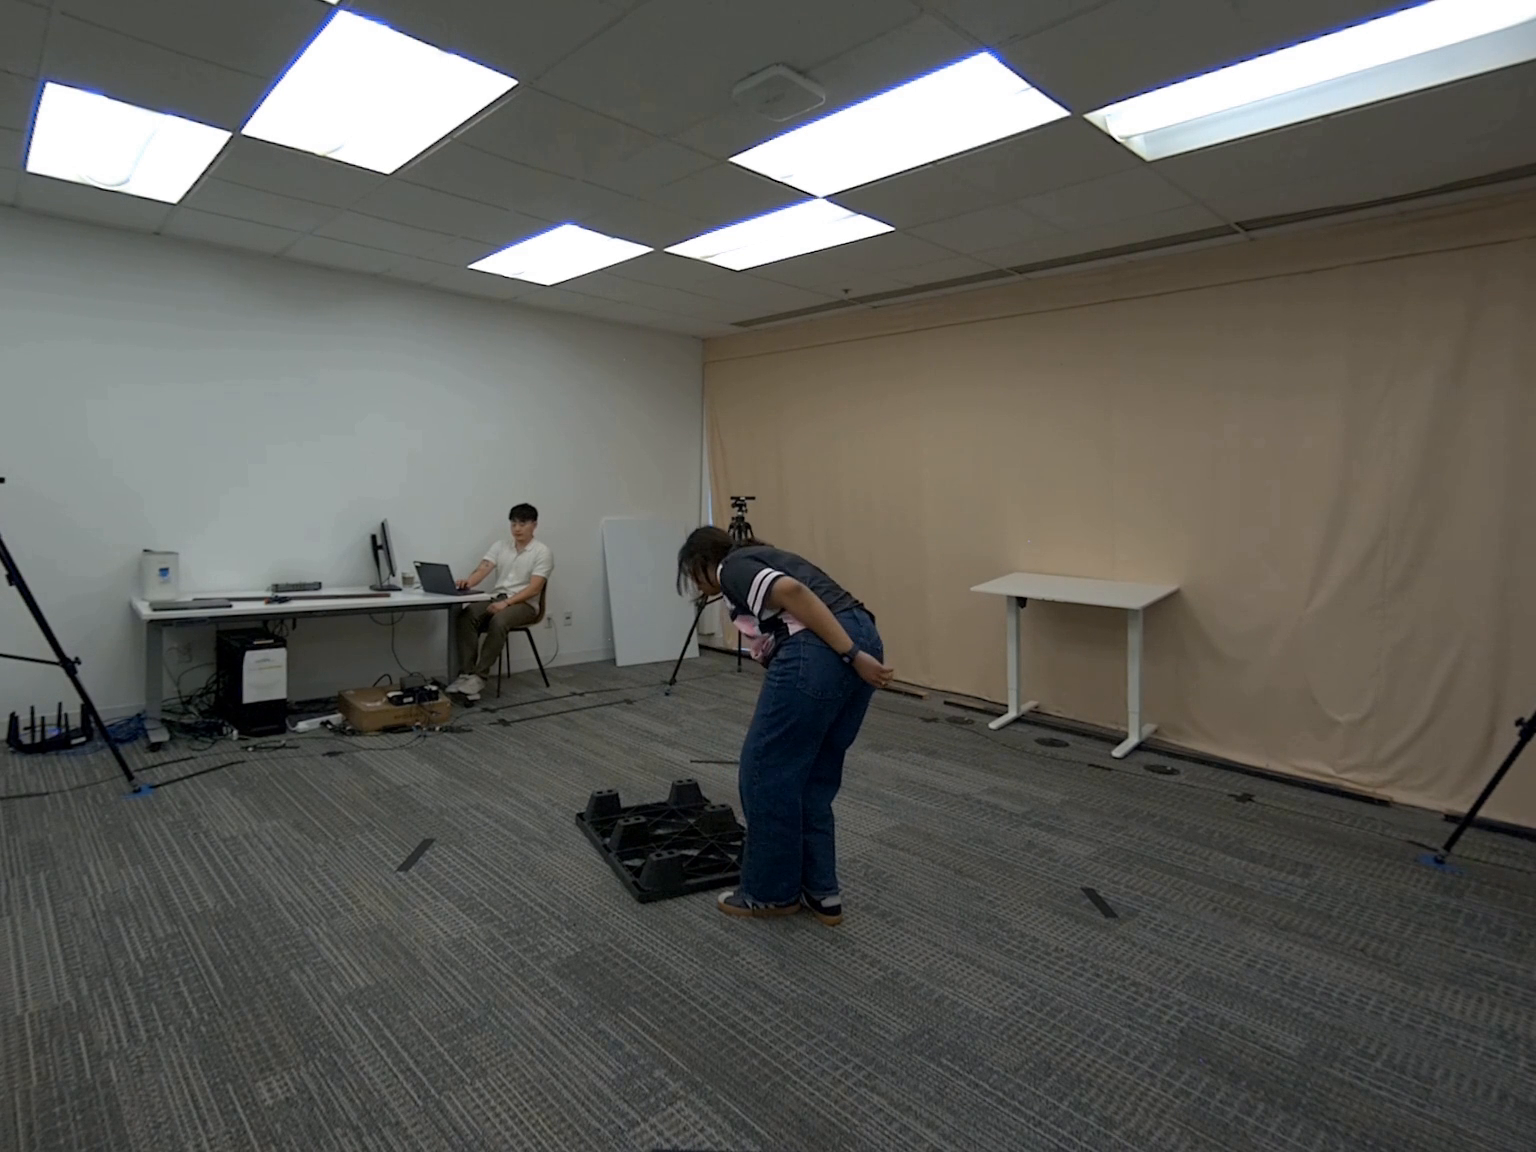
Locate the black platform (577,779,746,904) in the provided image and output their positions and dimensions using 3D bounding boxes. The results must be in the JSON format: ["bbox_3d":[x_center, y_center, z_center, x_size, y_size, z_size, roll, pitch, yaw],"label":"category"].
[{"bbox_3d":[-0.368,1.013,3.345,0.593,0.143,0.824,-2,6,-28],"label":"black platform"}]
